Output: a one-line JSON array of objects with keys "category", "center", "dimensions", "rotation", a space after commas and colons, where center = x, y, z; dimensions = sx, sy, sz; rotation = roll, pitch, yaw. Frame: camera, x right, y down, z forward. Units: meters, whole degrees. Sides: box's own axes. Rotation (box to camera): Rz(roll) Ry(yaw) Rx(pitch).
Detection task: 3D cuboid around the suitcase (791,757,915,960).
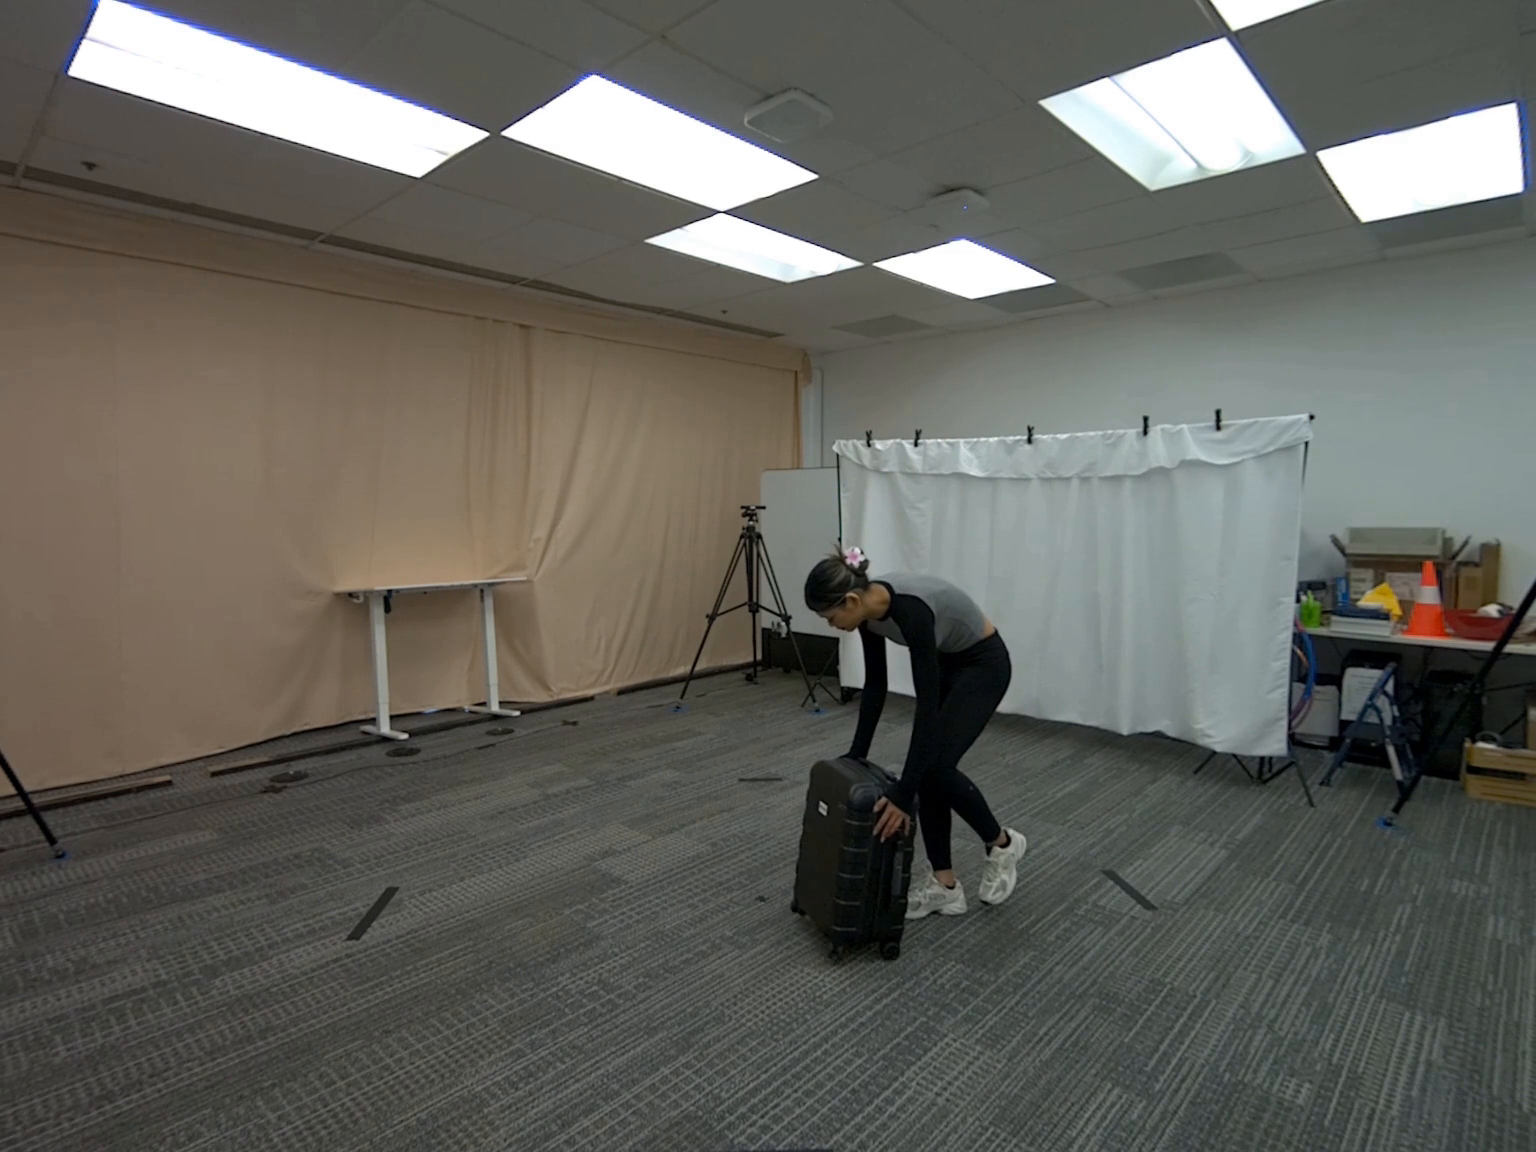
[{"category": "suitcase", "center": [0.284, 0.882, 2.691], "dimensions": [0.243, 0.549, 0.383], "rotation": [6, 1, -20]}]
